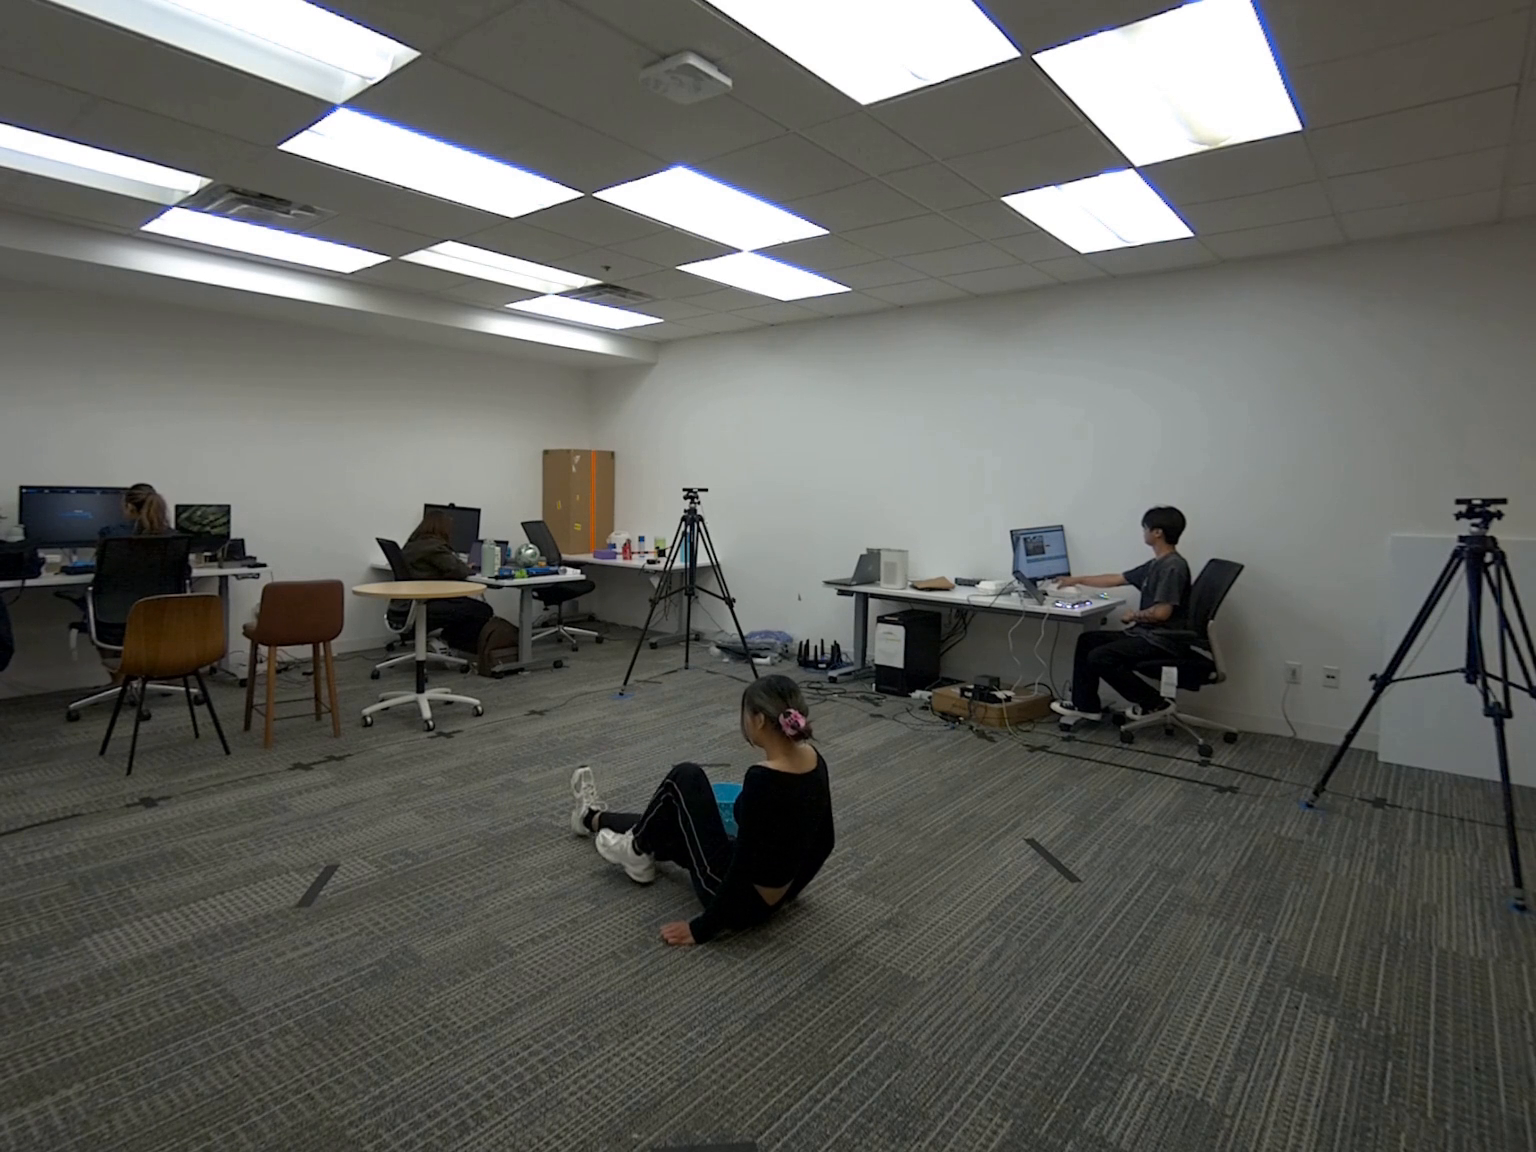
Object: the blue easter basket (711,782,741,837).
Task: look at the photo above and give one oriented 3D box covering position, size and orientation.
[{"bbox_3d":[-0.183,0.944,3.476,0.243,0.155,0.245,1,4,-2],"label":"blue easter basket"}]
